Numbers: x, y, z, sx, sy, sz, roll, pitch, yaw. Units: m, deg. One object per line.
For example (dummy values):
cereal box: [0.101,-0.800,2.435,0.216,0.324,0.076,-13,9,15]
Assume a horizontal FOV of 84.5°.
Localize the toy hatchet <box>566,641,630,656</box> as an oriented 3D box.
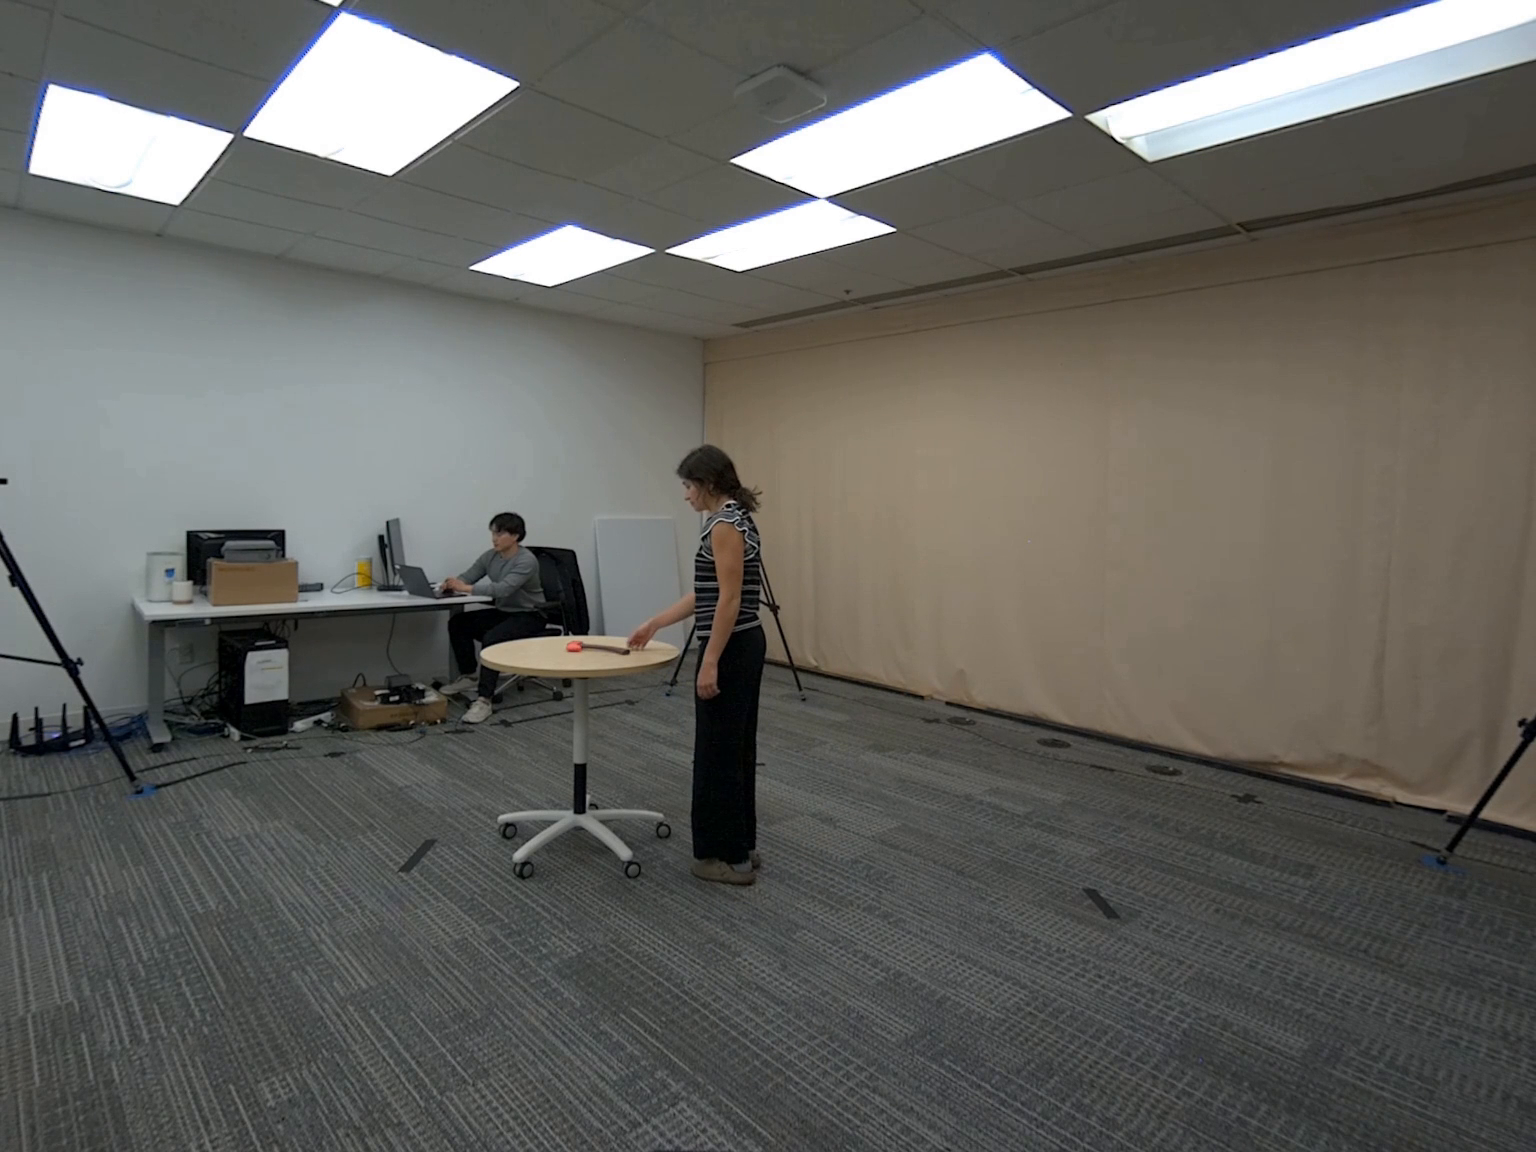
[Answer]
toy hatchet: [-0.676,0.280,3.269,0.276,0.029,0.128,6,7,34]
